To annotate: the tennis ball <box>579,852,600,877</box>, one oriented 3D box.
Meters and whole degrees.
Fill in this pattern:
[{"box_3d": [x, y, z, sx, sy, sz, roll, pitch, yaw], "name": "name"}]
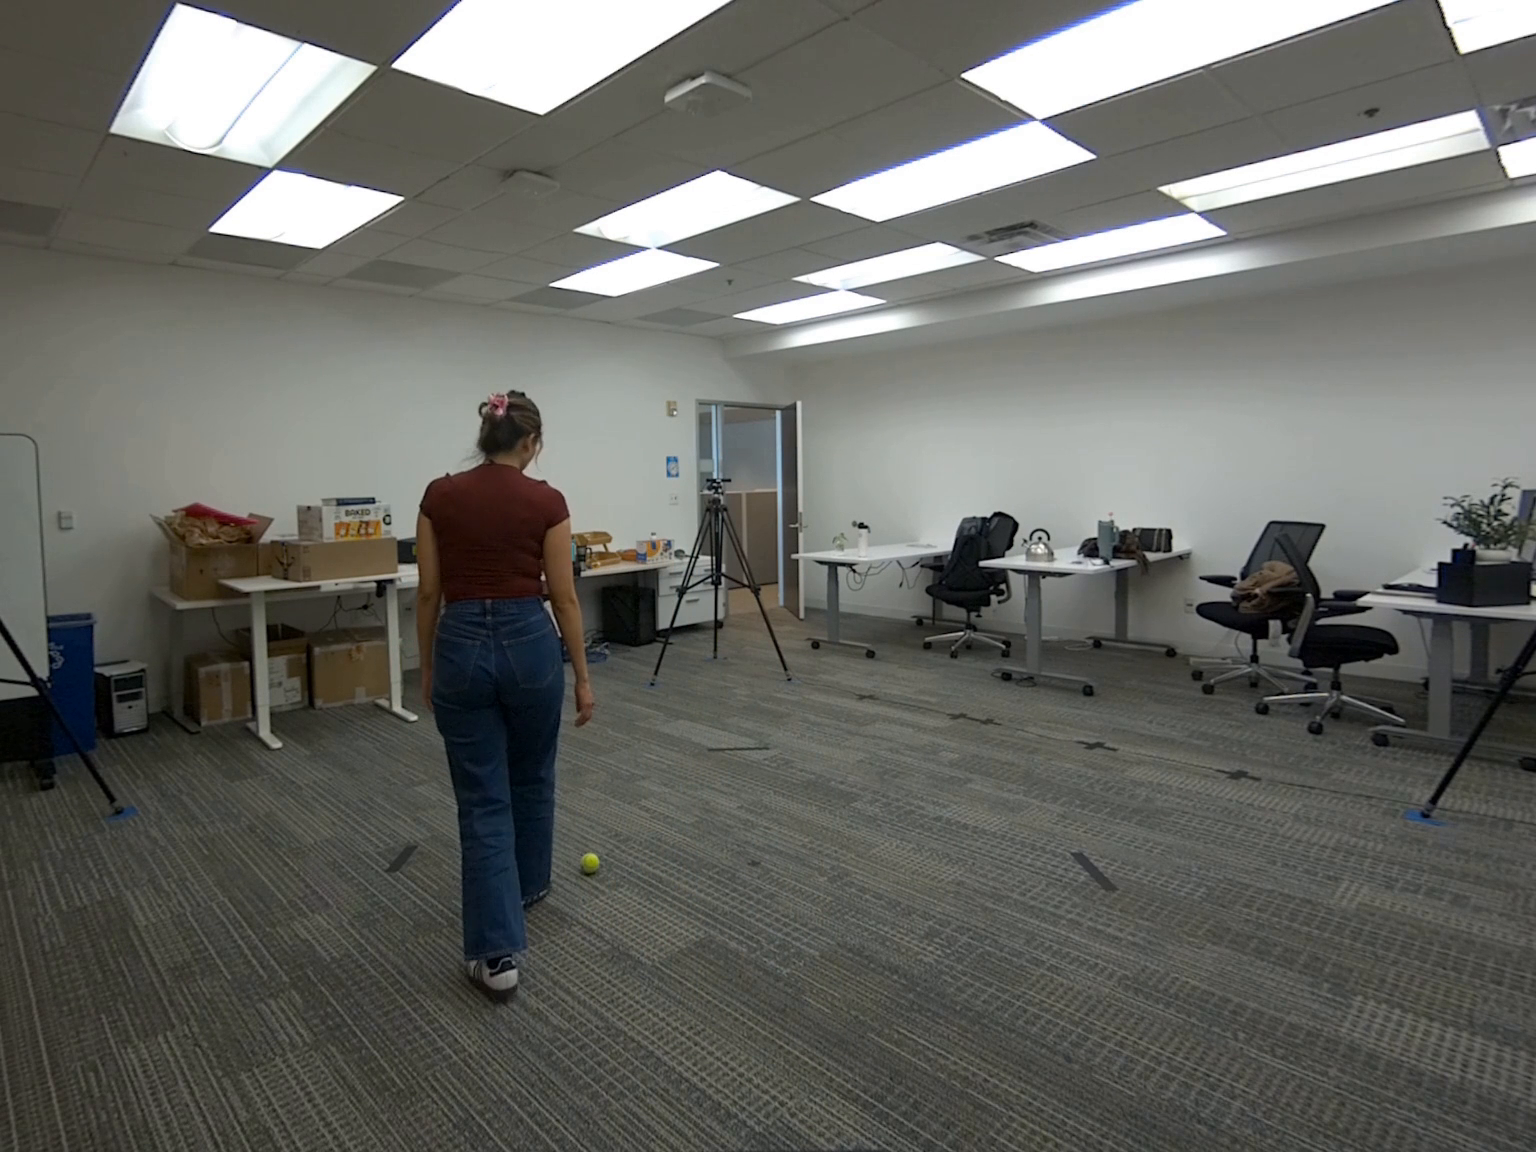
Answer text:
[{"box_3d": [-0.626, 1.020, 3.047, 0.066, 0.066, 0.067, -1, 5, -2], "name": "tennis ball"}]
